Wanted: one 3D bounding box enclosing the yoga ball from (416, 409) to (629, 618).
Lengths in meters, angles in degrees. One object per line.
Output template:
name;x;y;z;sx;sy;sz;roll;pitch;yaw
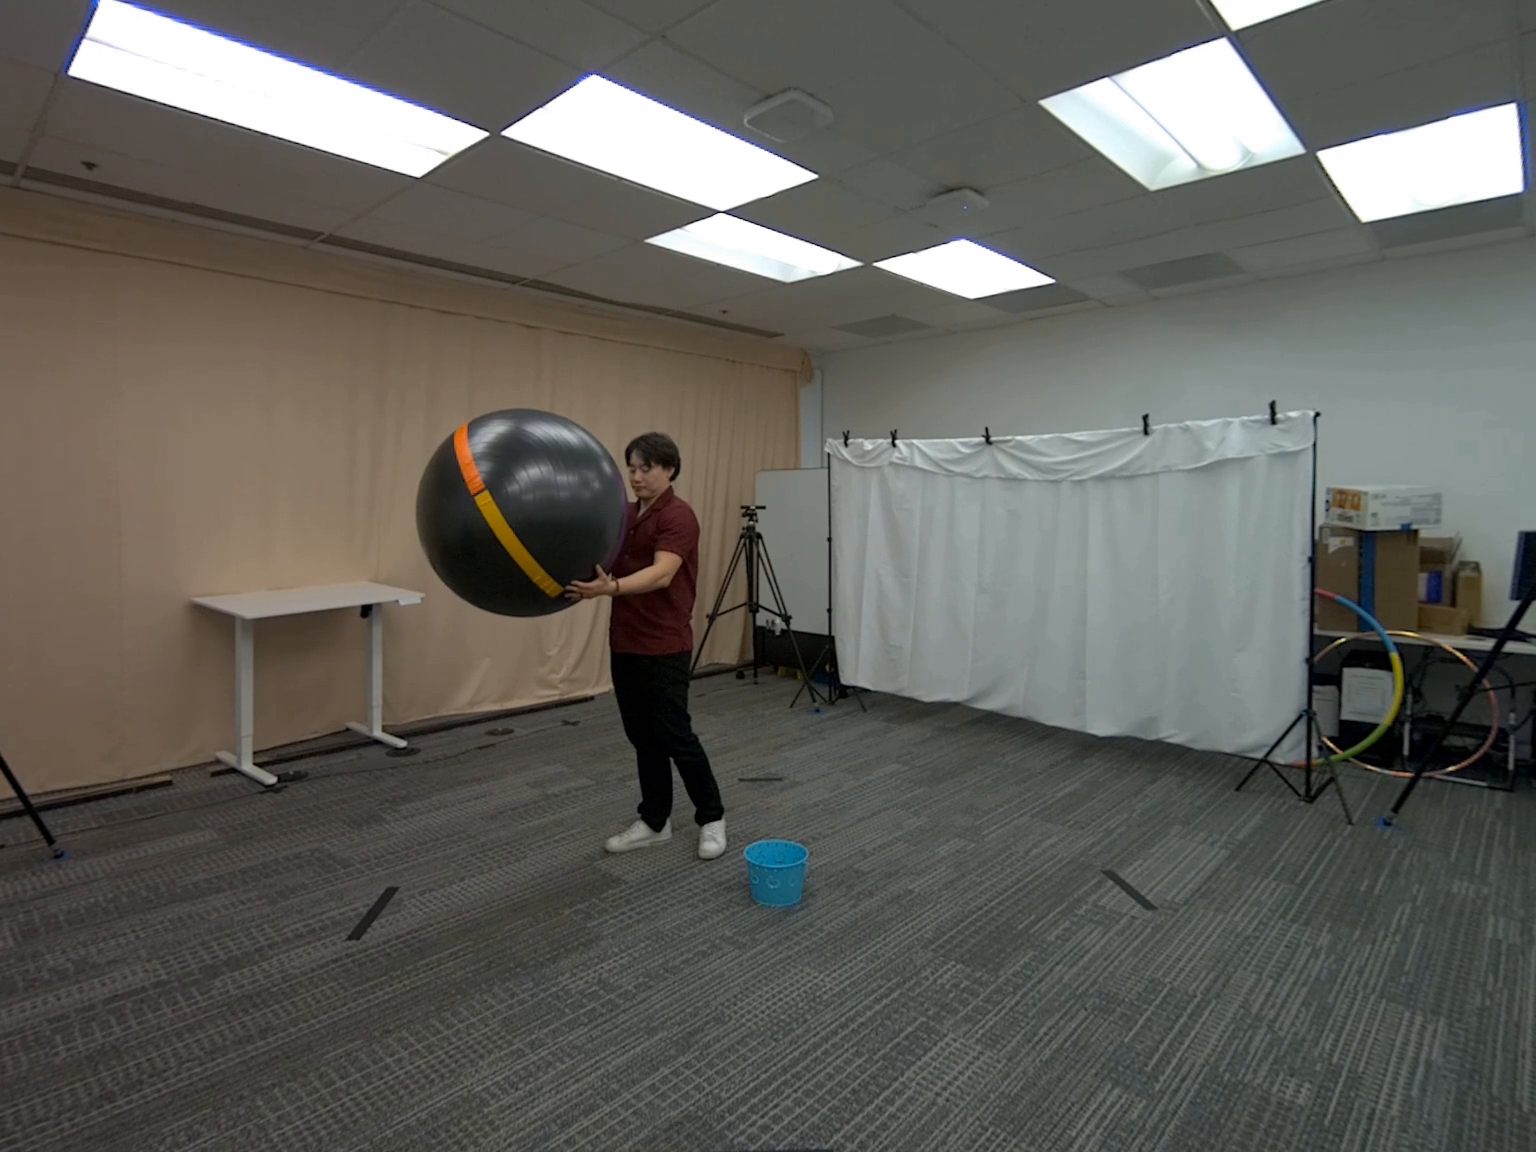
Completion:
yoga ball;-0.899;-0.228;3.083;0.757;0.756;0.761;0;4;-2
